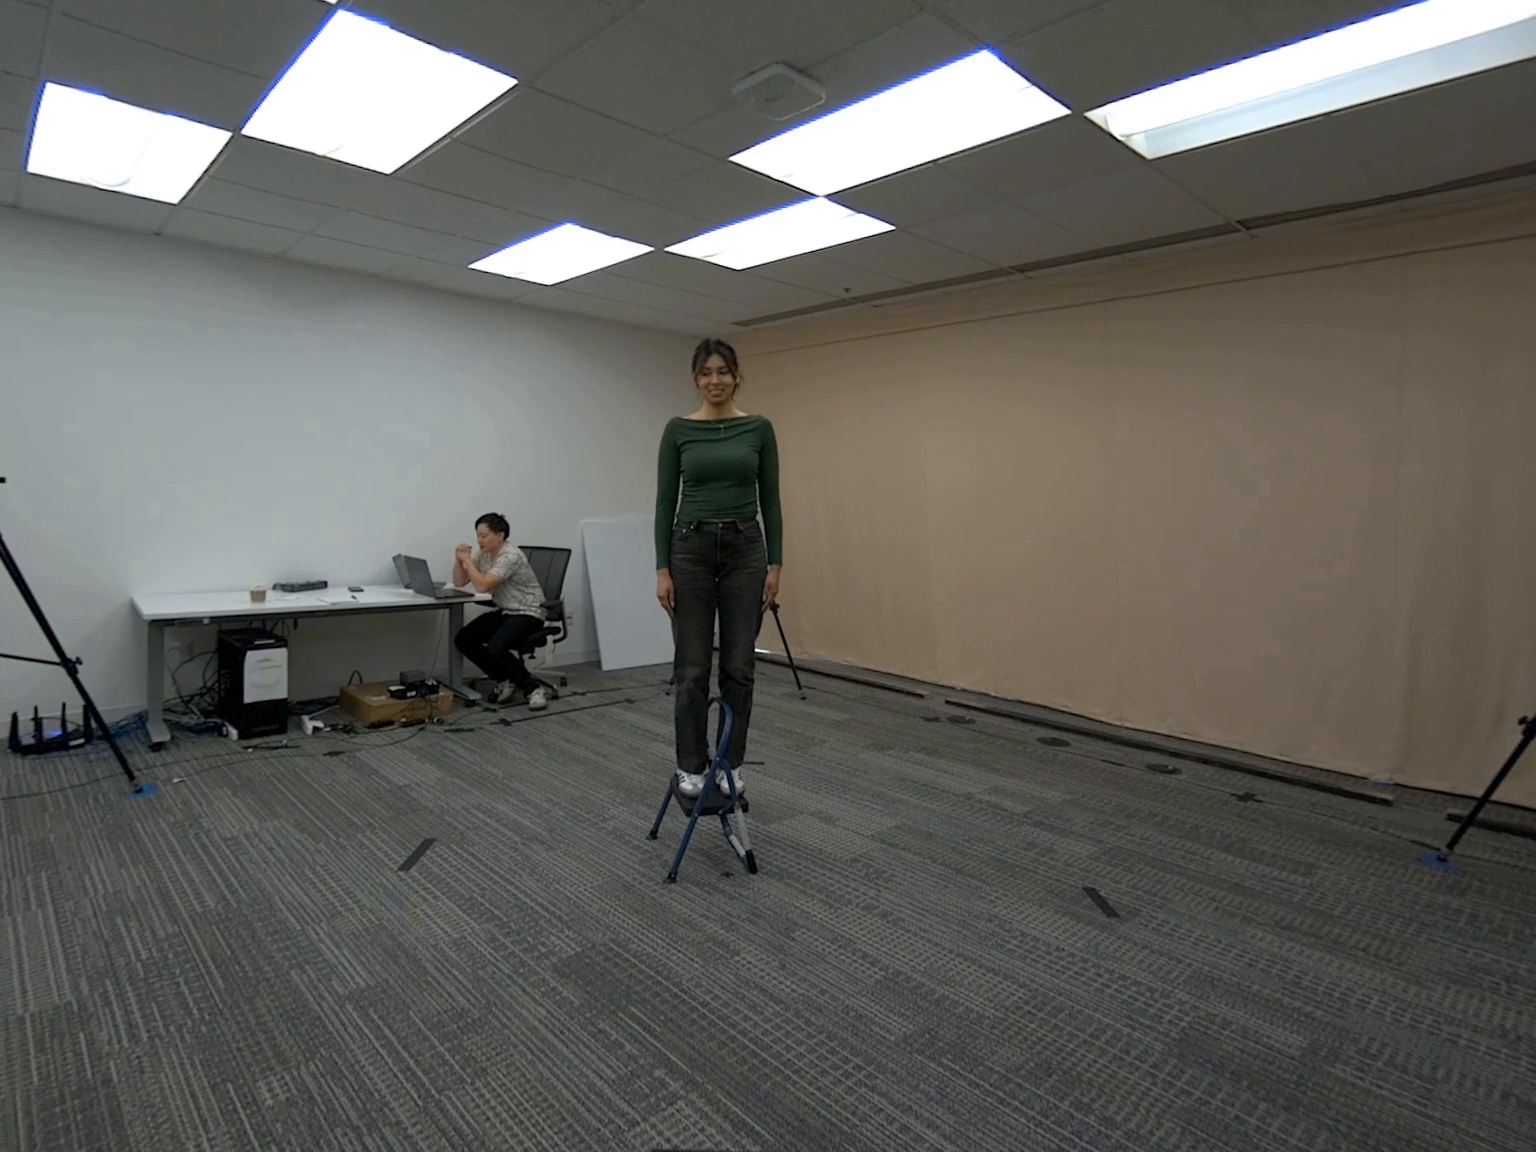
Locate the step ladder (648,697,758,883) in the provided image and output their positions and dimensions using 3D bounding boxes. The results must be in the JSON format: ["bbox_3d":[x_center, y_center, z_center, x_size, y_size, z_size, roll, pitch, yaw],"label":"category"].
[{"bbox_3d":[-0.260,0.784,3.244,0.345,0.604,0.437,1,4,-17],"label":"step ladder"}]
